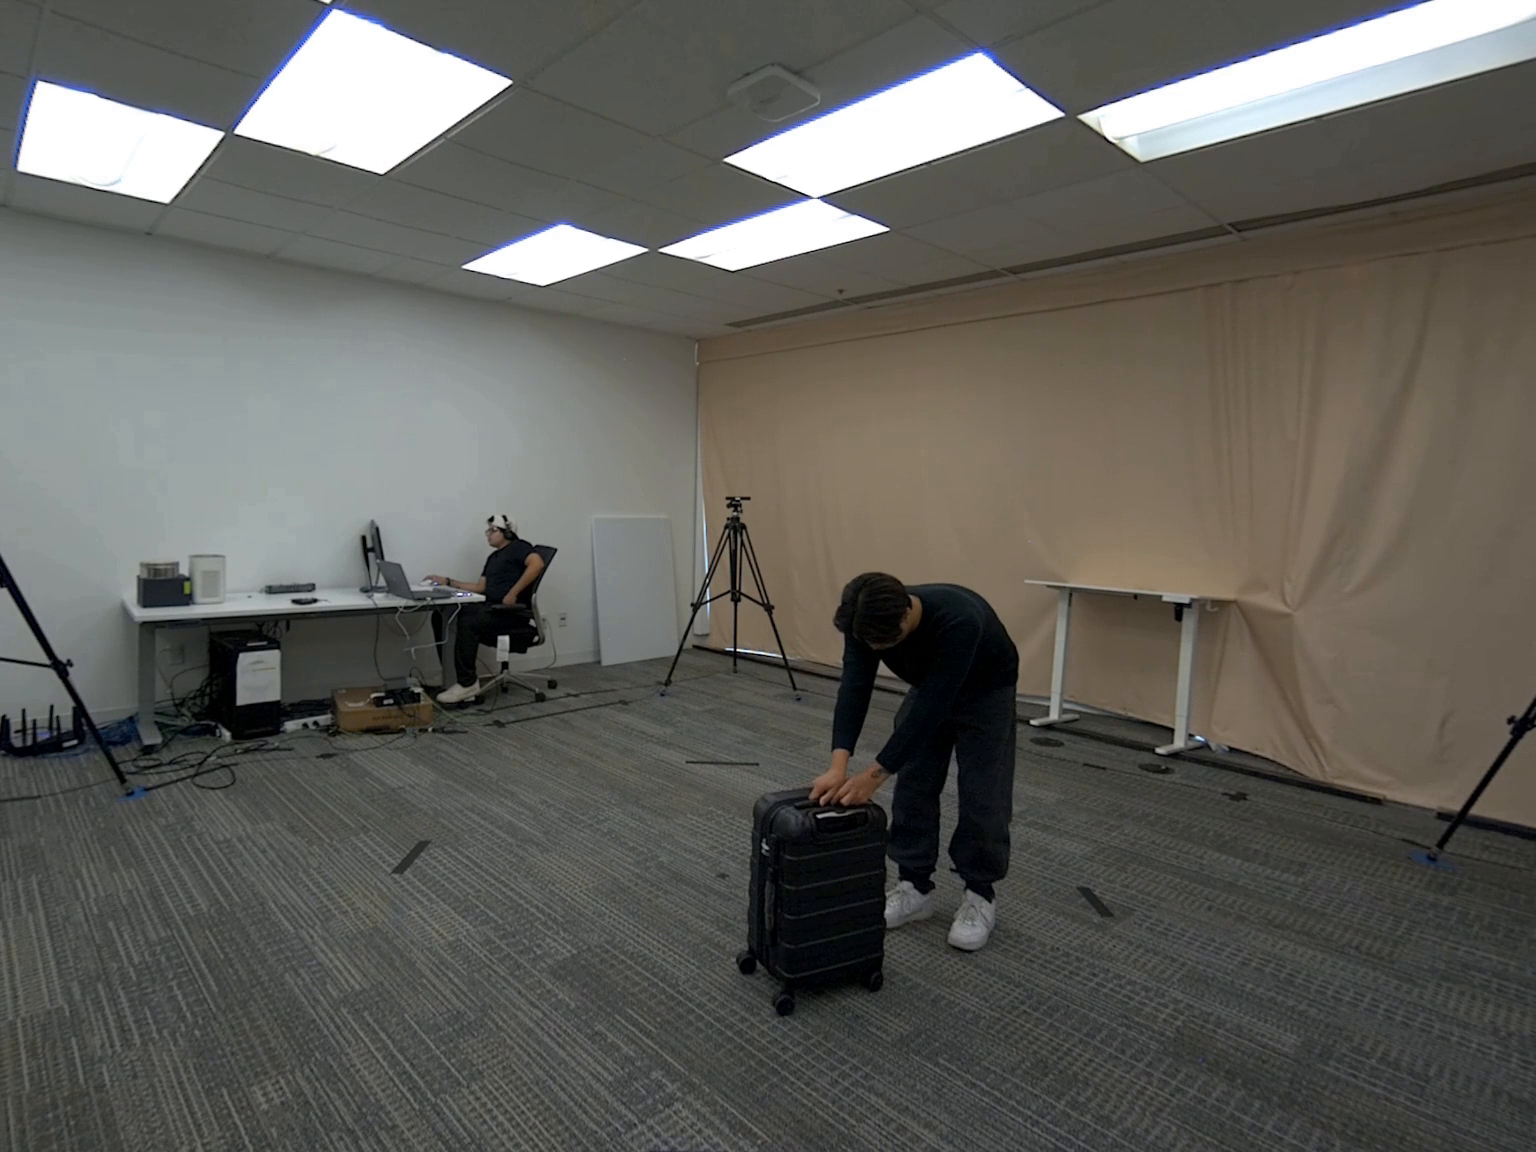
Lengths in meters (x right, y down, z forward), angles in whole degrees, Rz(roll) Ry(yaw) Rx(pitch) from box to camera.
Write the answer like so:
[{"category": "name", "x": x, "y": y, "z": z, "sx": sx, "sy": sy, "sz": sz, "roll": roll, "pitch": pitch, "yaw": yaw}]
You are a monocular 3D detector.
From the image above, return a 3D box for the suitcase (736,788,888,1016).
[{"category": "suitcase", "x": 0.137, "y": 0.901, "z": 2.434, "sx": 0.368, "sy": 0.548, "sz": 0.253, "roll": 1, "pitch": 3, "yaw": -26}]
